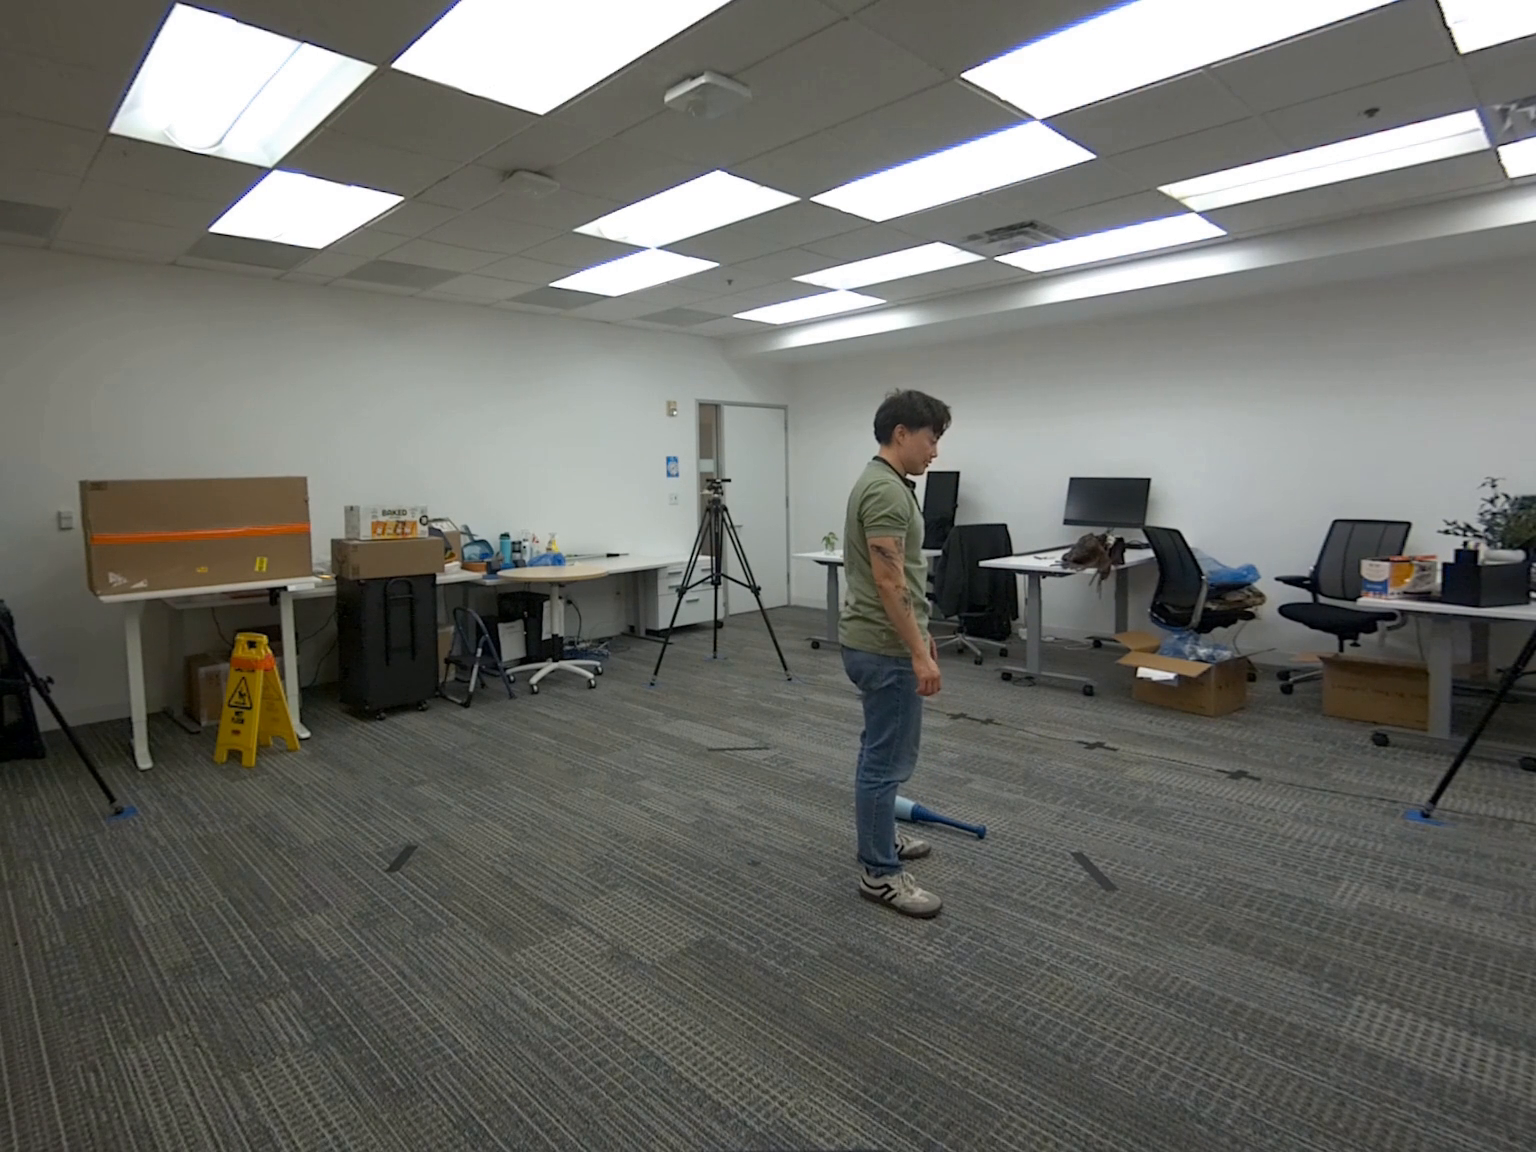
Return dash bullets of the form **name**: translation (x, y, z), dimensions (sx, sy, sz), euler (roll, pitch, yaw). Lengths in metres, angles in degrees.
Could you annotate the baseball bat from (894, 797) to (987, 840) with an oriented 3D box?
- **baseball bat**: translation (0.615, 0.960, 3.447), dimensions (0.560, 0.088, 0.087), euler (8, 9, 37)
